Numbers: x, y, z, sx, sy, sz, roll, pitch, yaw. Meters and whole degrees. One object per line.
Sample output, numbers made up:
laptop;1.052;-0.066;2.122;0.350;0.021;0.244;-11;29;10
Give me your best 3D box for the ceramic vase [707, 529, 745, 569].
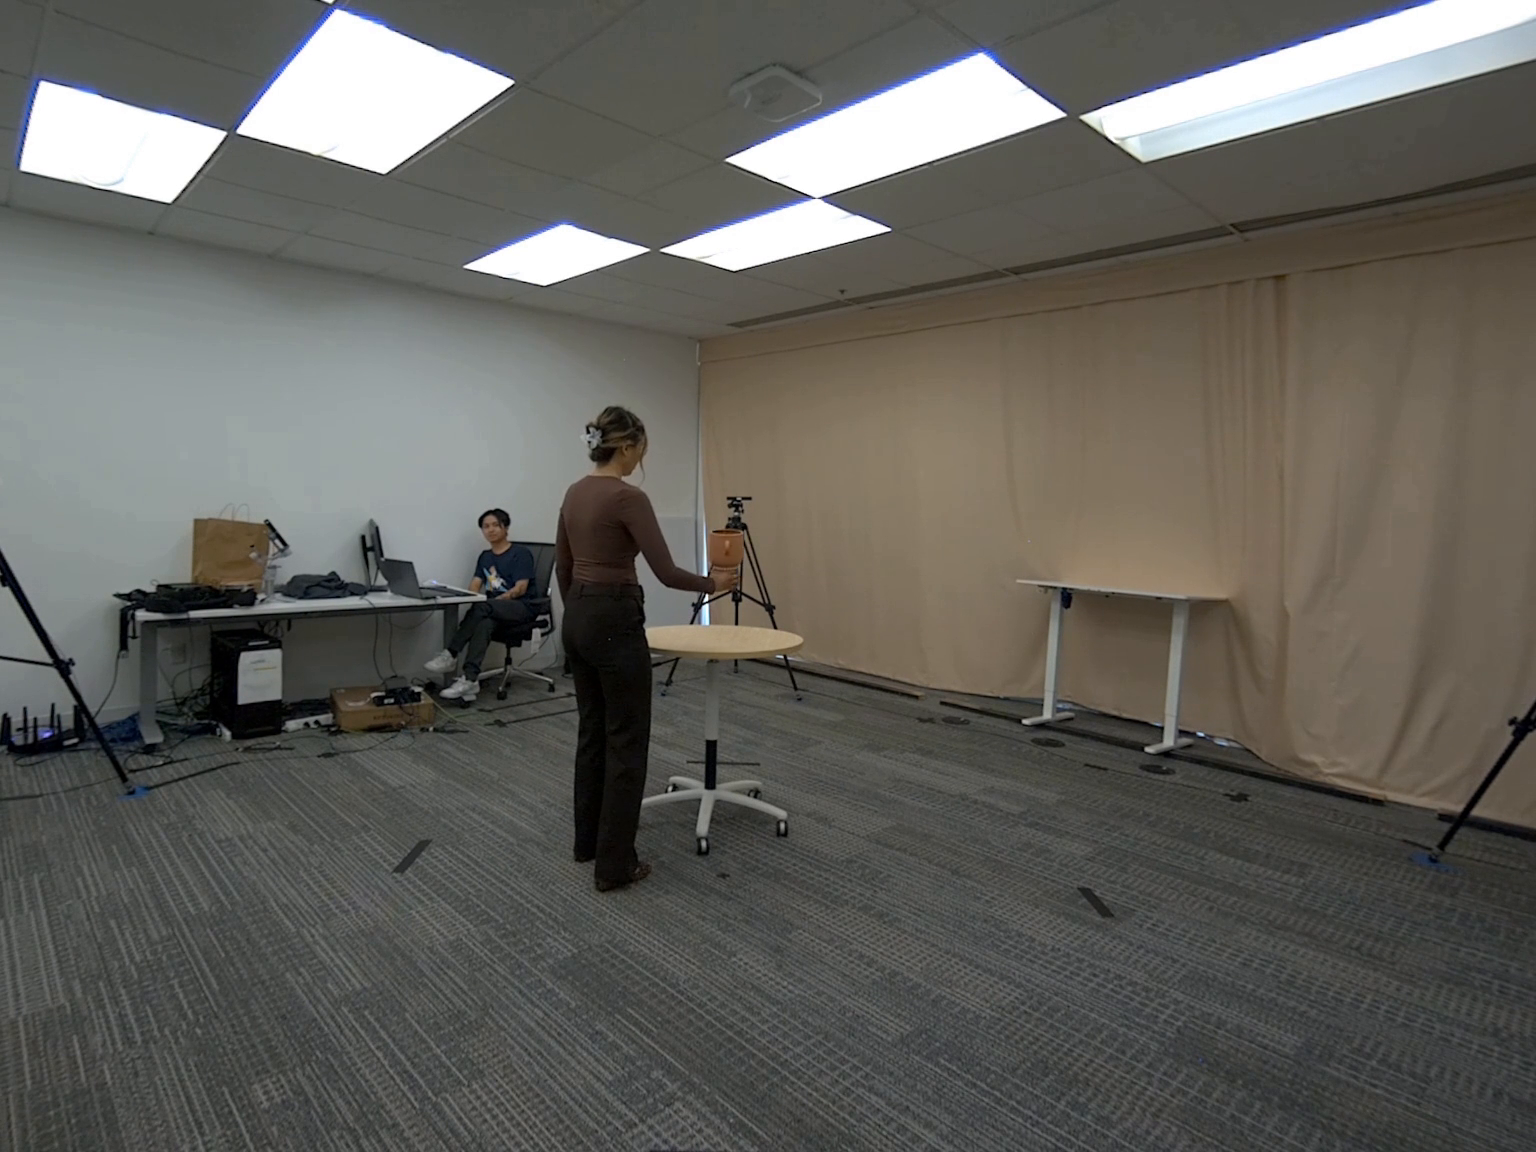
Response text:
ceramic vase;-0.168;-0.062;3.259;0.138;0.218;0.156;9;13;34
